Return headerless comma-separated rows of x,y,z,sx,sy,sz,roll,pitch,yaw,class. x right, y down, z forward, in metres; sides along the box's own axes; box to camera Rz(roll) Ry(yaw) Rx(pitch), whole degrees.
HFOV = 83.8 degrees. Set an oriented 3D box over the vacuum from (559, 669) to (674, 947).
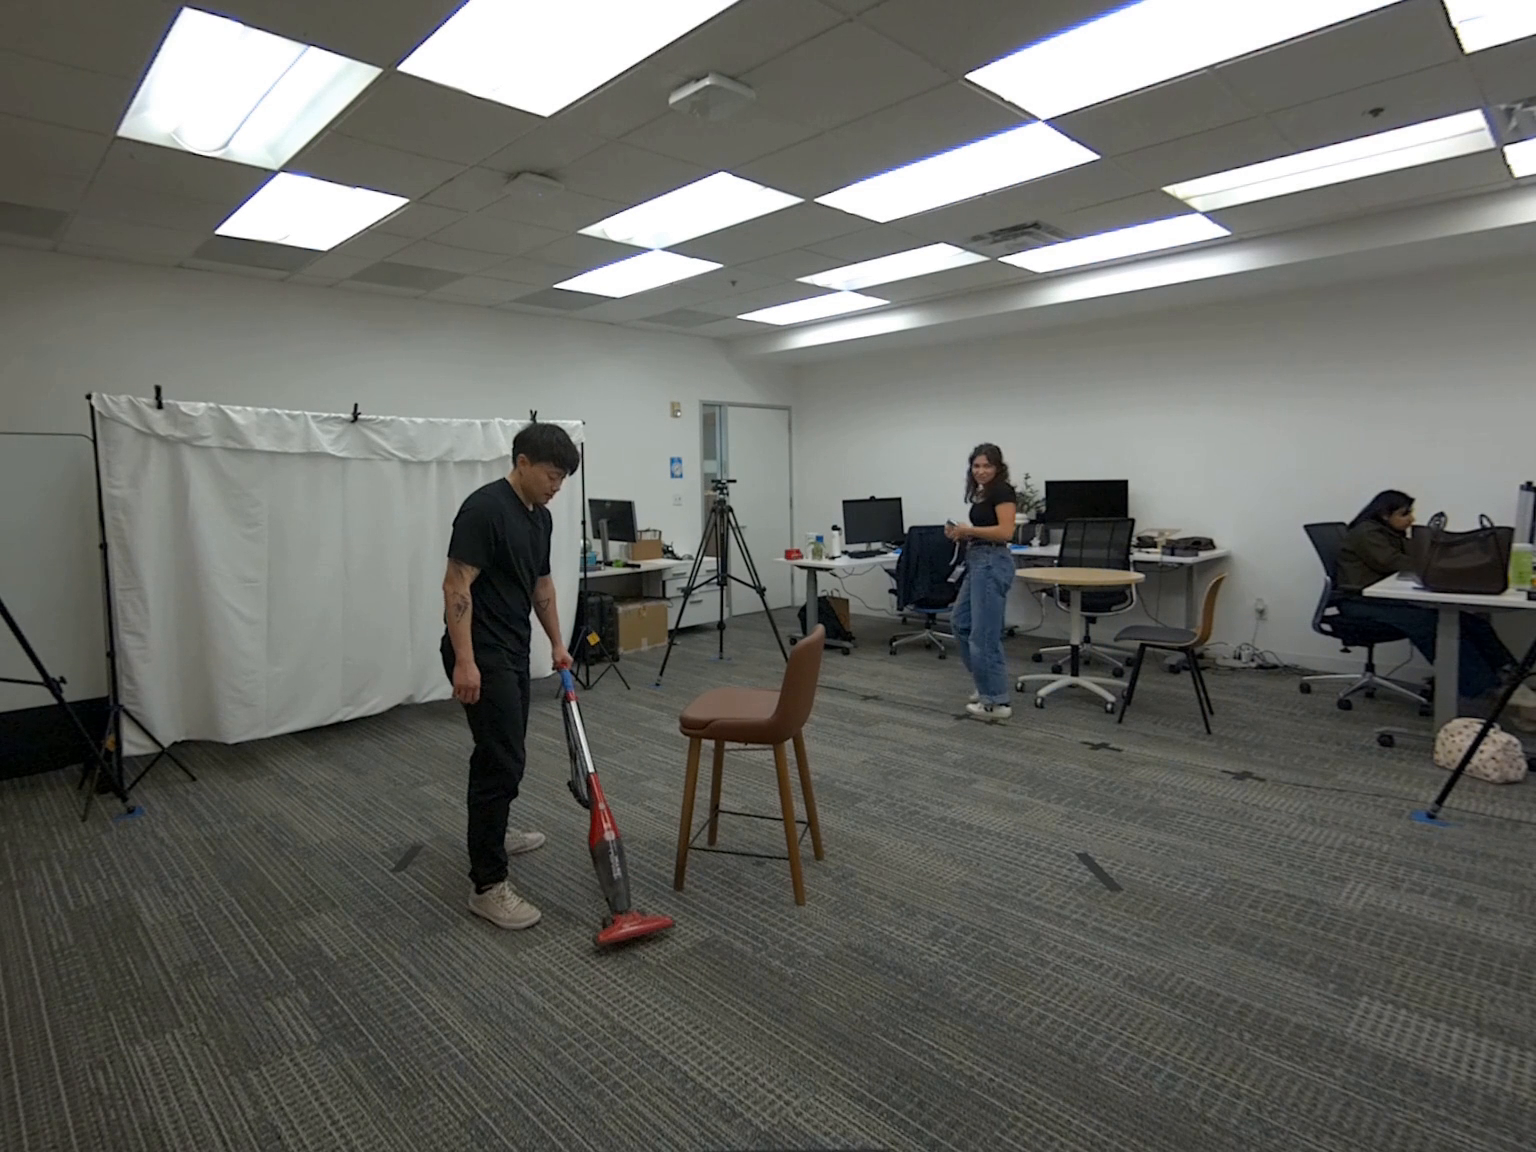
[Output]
-0.615,0.708,2.948,0.247,0.141,1.088,-6,47,-25,vacuum
